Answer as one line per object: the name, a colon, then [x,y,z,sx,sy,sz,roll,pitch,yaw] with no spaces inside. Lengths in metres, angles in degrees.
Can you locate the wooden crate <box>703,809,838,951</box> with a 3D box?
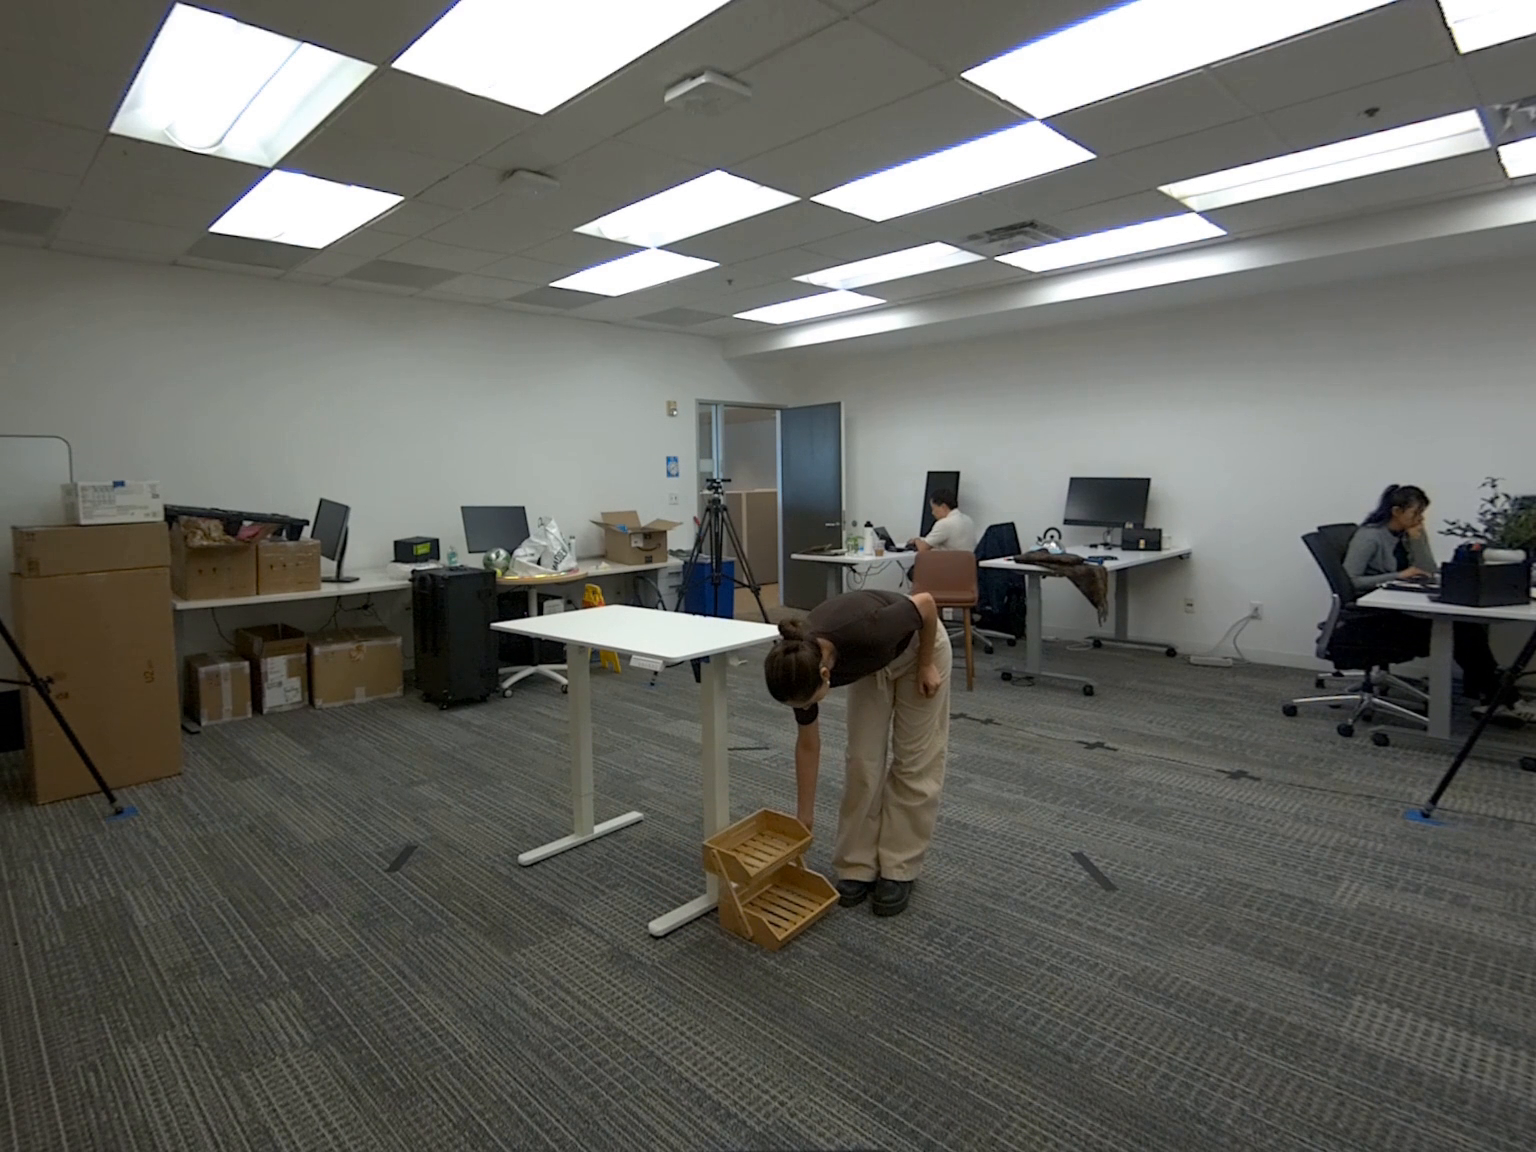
wooden crate: [0.018,0.949,2.700,0.311,0.271,0.317,3,11,41]
